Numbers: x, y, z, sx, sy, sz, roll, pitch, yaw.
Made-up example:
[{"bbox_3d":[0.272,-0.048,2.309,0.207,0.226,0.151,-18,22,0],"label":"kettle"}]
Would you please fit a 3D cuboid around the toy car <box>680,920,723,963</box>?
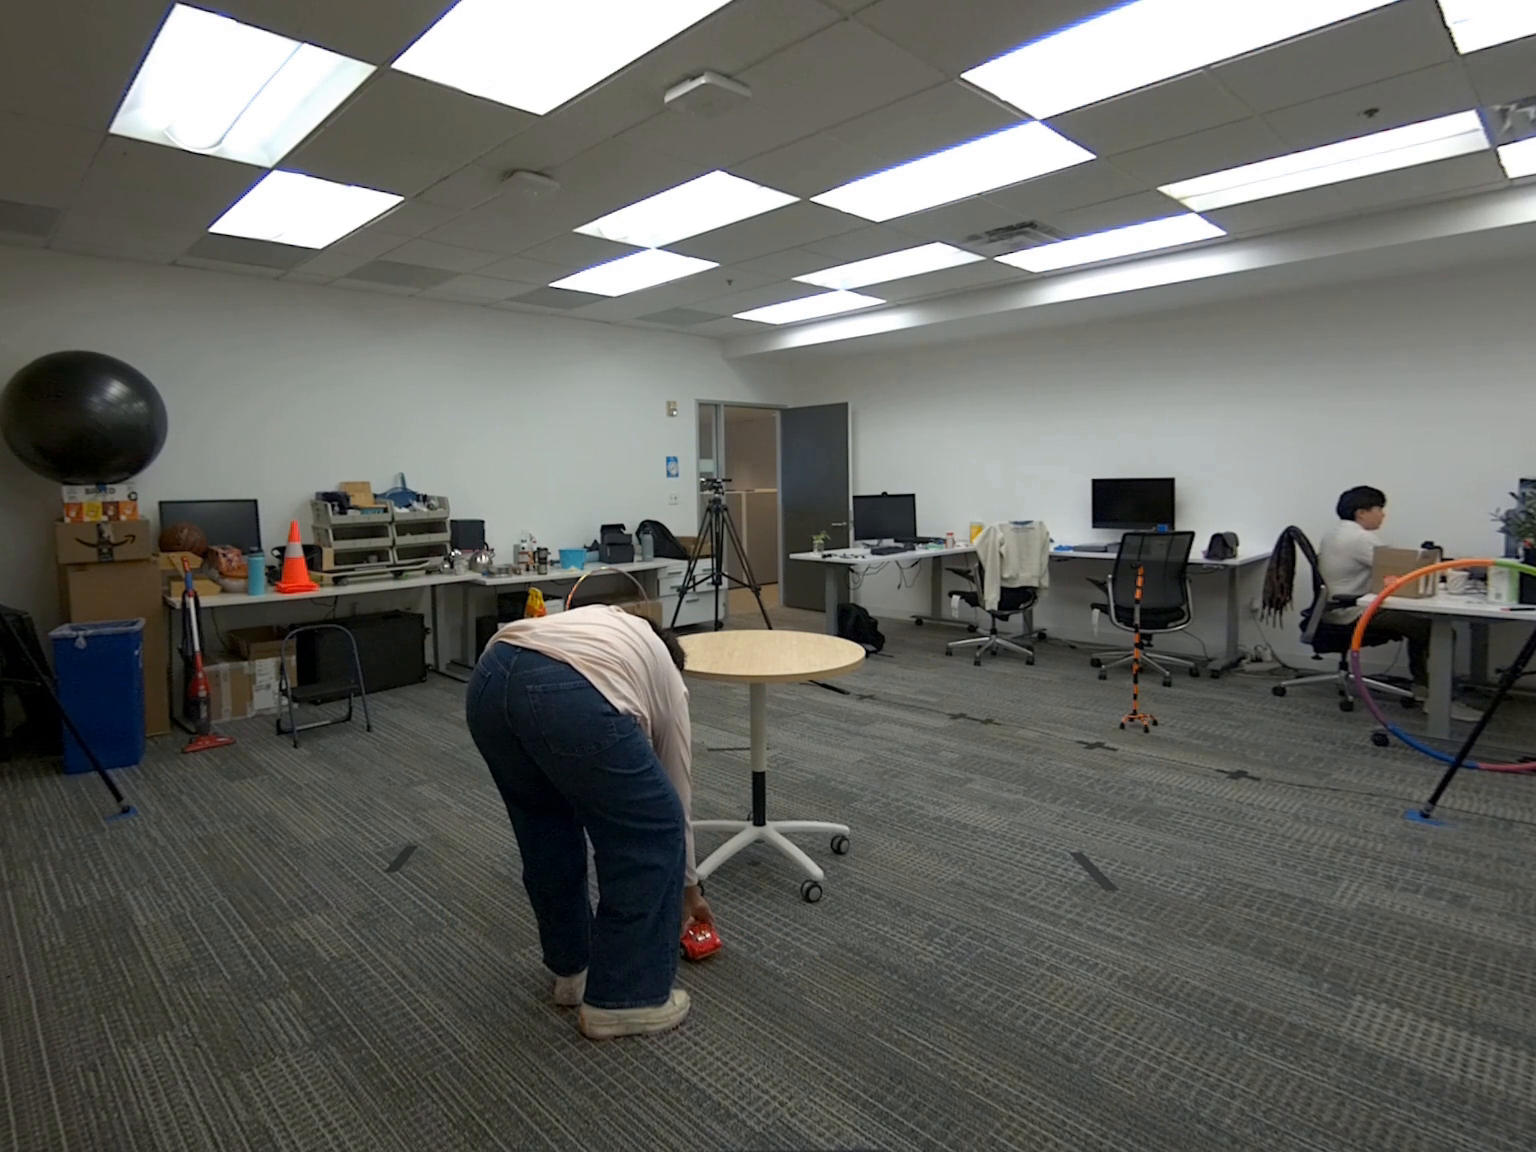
[{"bbox_3d":[-0.227,1.084,2.554,0.127,0.083,0.260,-5,-3,-33],"label":"toy car"}]
